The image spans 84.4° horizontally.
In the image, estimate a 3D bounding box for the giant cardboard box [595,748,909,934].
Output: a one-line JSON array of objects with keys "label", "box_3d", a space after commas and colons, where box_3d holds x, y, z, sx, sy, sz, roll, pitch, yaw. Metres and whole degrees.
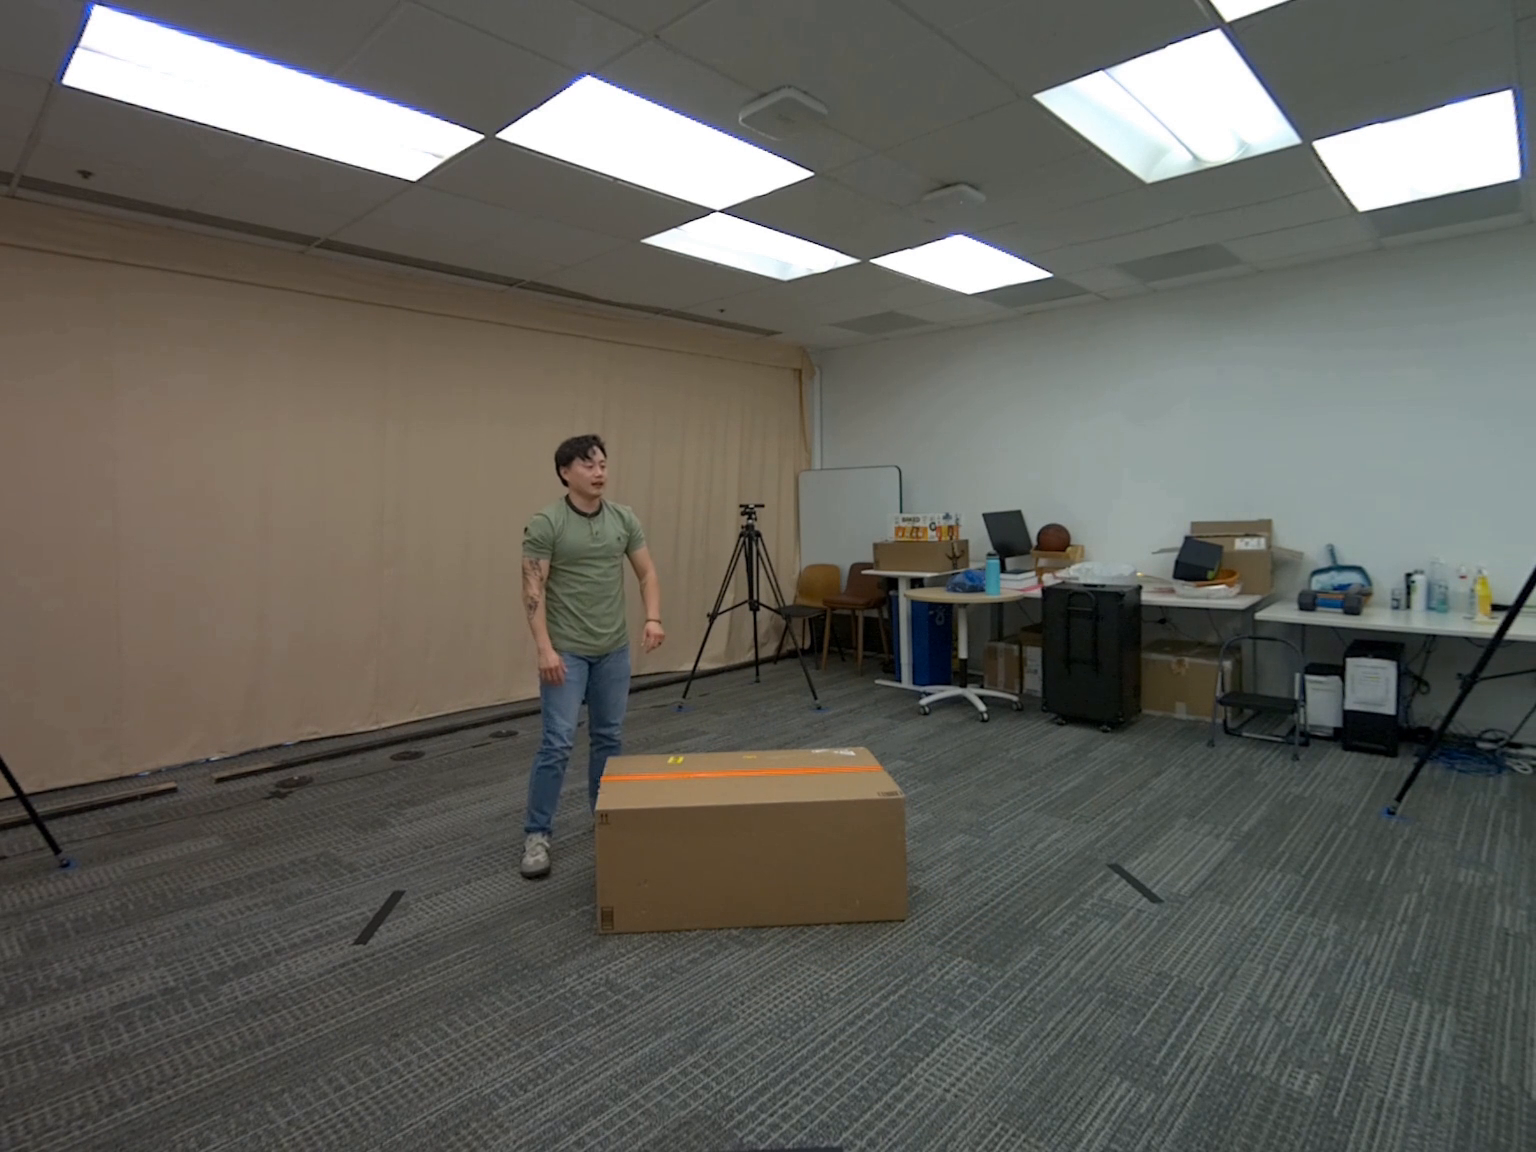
[{"label": "giant cardboard box", "box_3d": [-0.079, 0.921, 3.035, 1.022, 0.425, 0.581, -2, 3, -4]}]
